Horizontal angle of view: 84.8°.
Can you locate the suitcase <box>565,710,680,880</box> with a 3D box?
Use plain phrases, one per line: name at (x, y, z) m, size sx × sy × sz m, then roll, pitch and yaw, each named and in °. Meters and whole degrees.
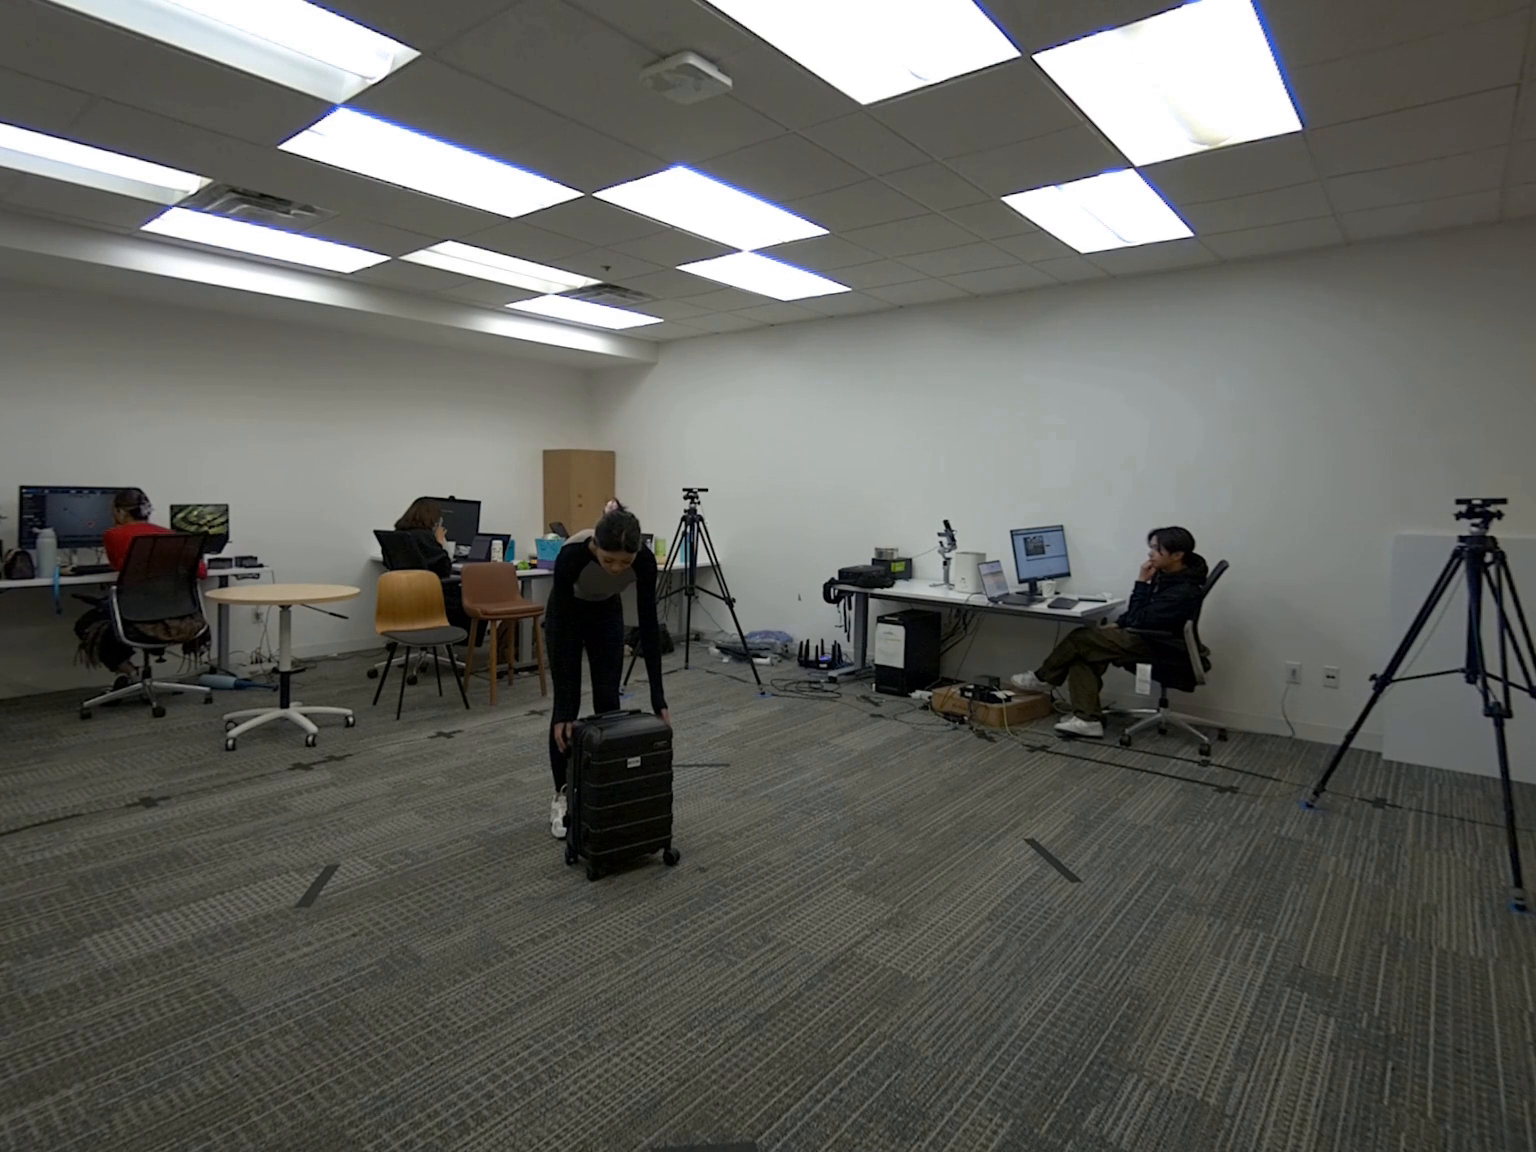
suitcase at (-0.555, 0.780, 3.153) m, size 0.364 × 0.548 × 0.256 m, roll -1°, pitch 4°, yaw -34°
